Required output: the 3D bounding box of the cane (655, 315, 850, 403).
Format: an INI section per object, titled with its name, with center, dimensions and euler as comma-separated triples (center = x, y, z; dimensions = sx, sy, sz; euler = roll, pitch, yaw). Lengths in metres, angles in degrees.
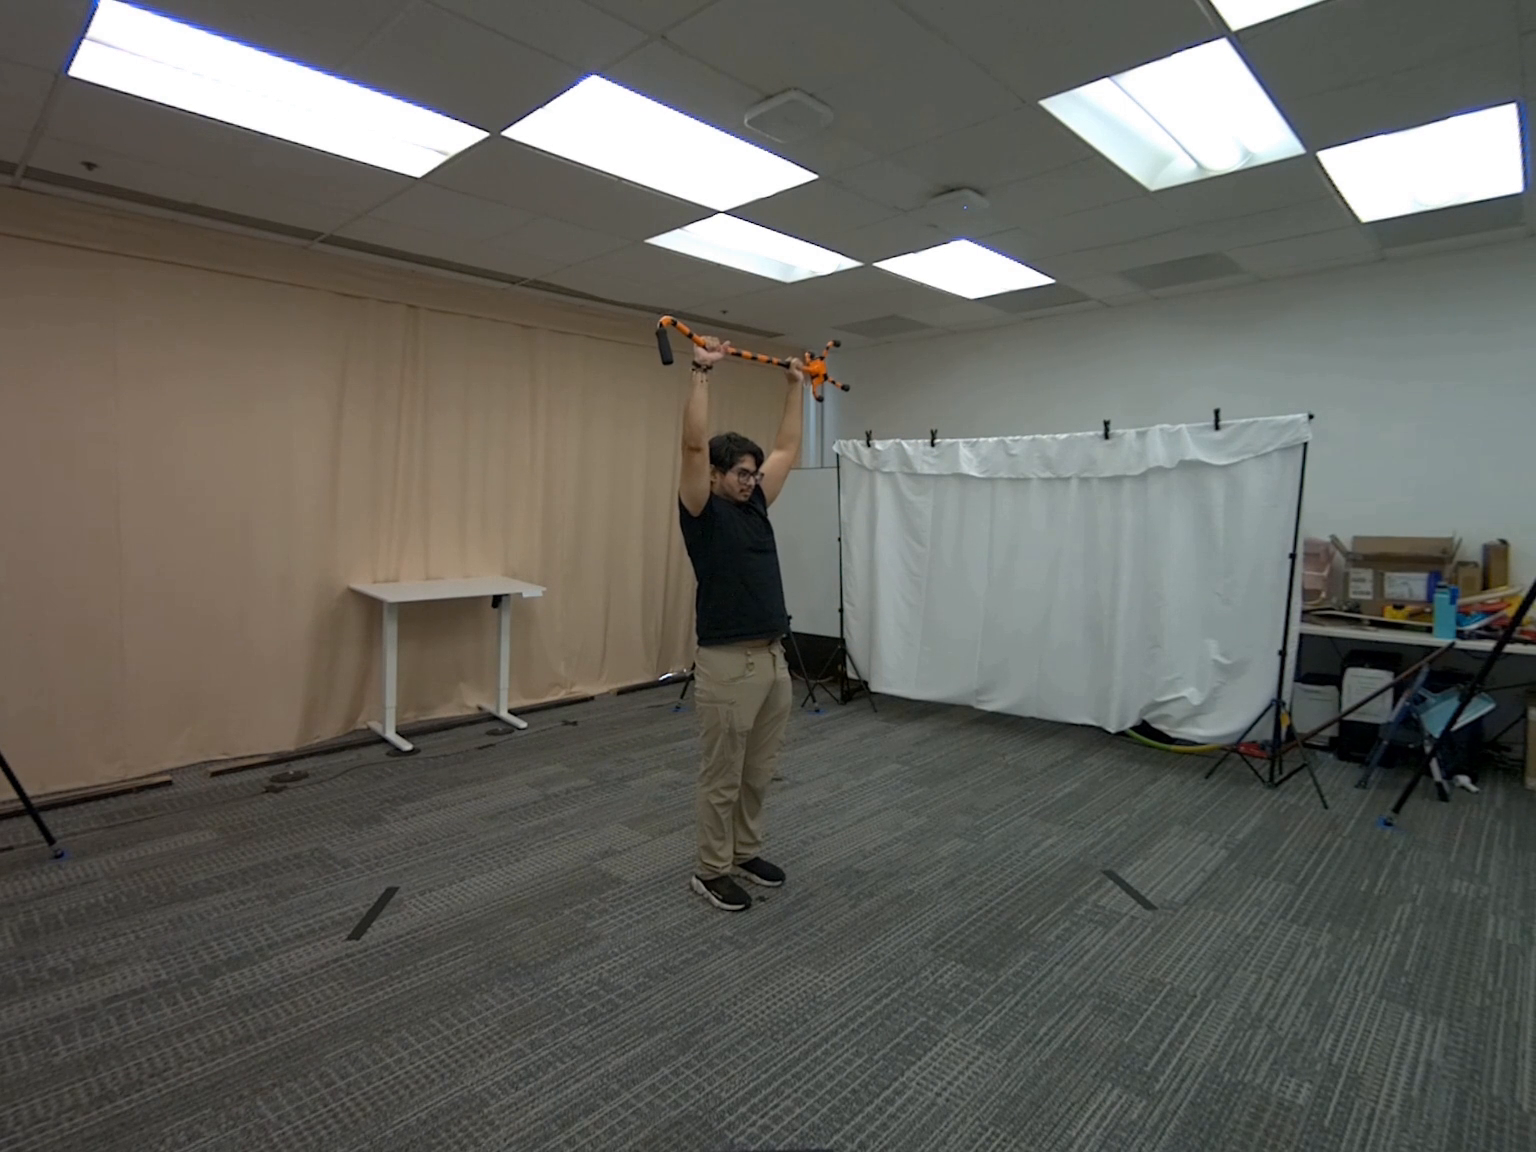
[cane]
center = -0.038, -0.764, 2.892
dimensions = 0.155, 0.208, 0.880
euler = -19, -9, 39
